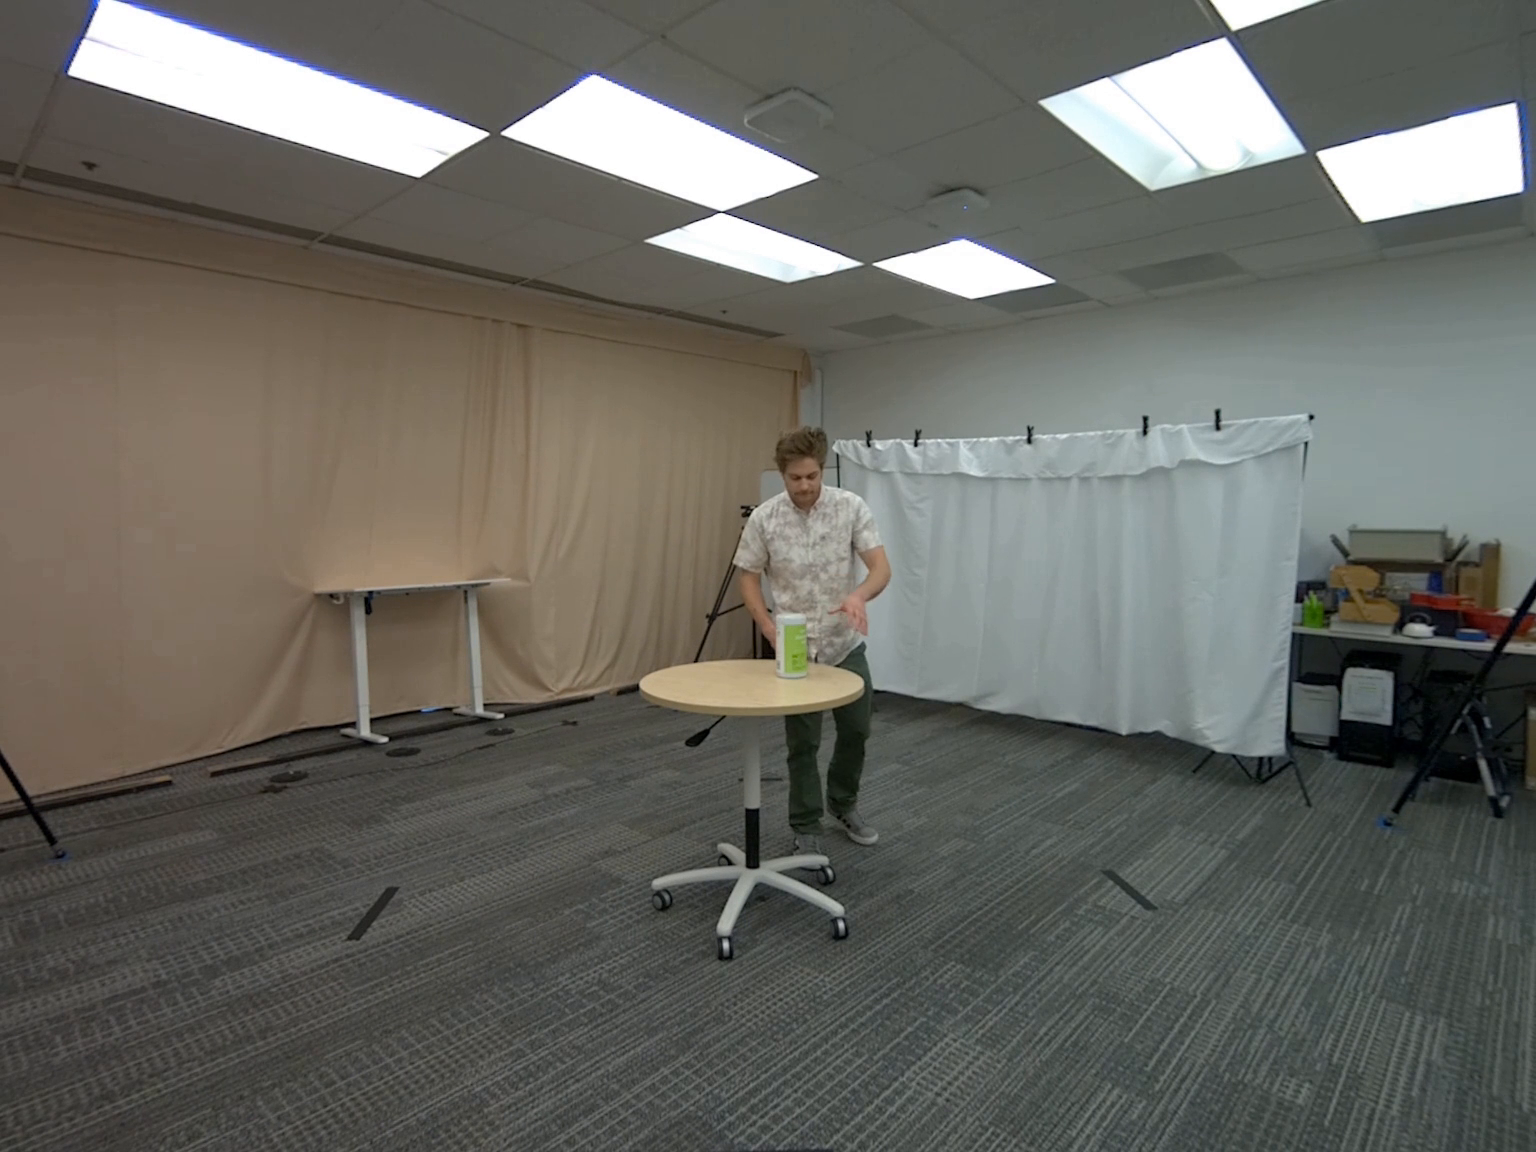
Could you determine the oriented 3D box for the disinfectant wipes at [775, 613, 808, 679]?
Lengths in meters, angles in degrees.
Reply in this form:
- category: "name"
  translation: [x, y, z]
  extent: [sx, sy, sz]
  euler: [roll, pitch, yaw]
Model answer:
- category: "disinfectant wipes"
  translation: [0.082, 0.241, 2.956]
  extent: [0.117, 0.217, 0.118]
  euler: [5, 4, -2]
